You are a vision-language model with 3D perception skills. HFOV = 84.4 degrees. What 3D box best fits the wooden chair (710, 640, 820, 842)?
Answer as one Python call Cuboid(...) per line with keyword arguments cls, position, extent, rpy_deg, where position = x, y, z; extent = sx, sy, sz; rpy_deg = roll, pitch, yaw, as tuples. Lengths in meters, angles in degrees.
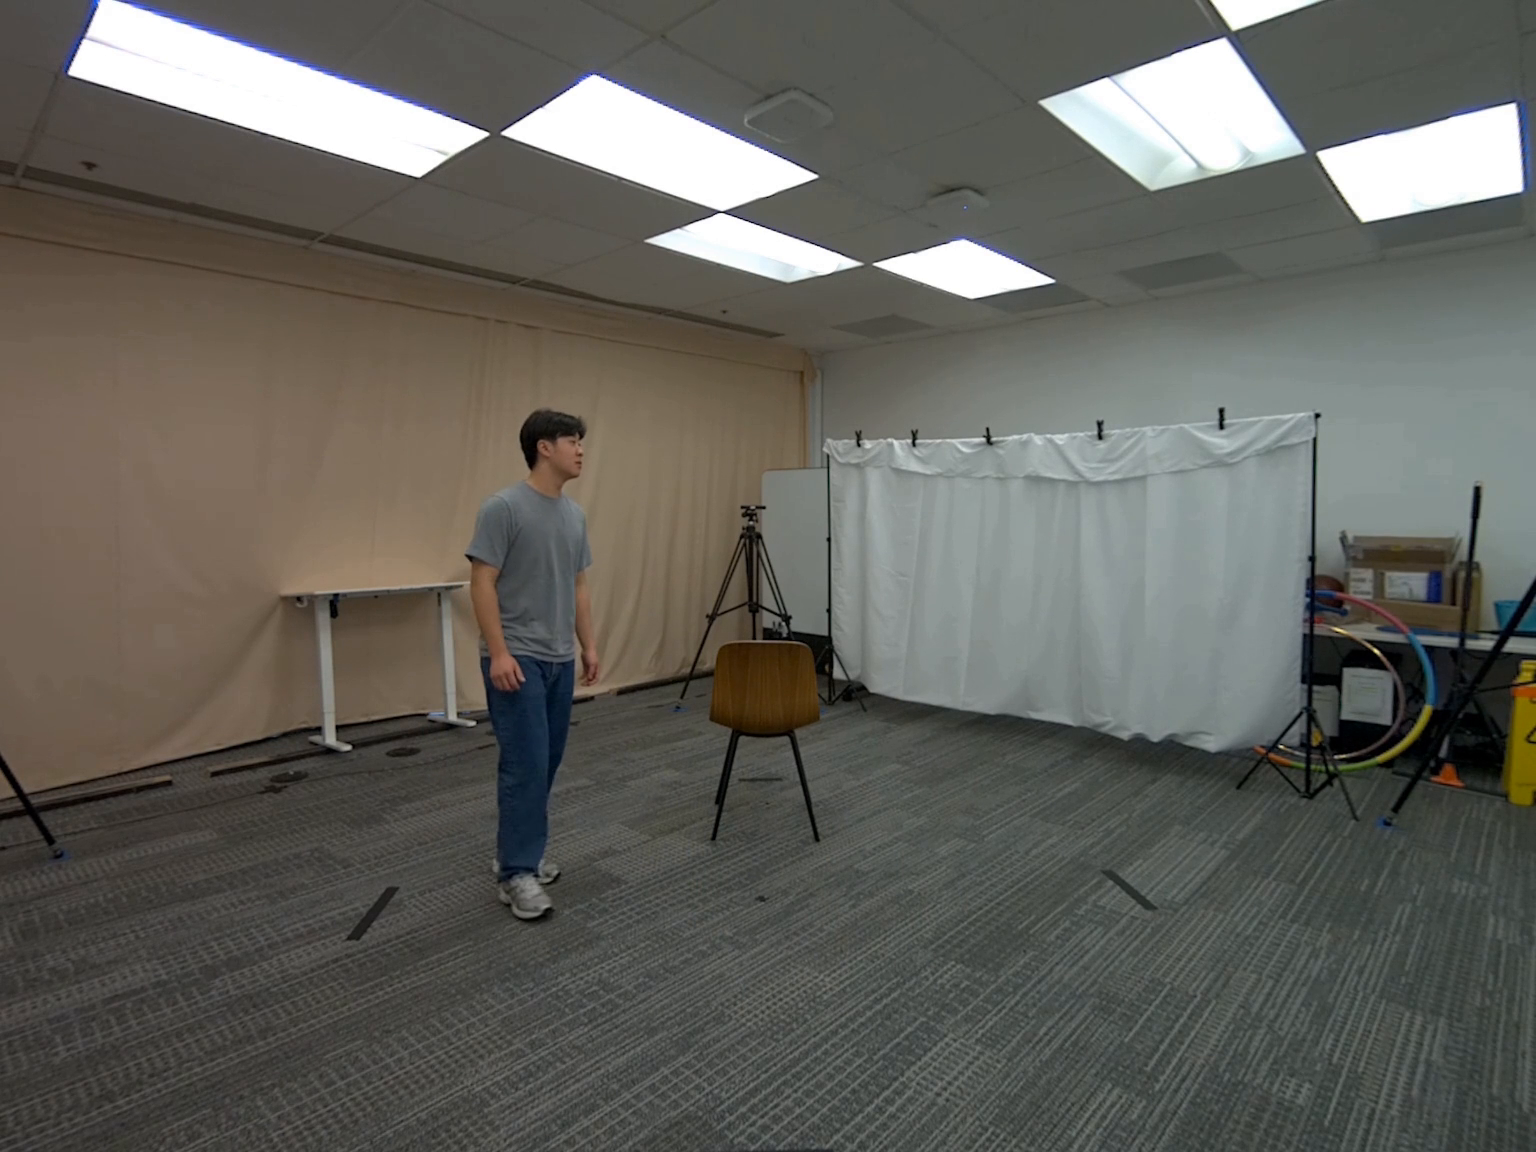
Cuboid(cls="wooden chair", position=(-0.028, 0.660, 3.695), extent=(0.478, 0.874, 0.525), rpy_deg=(-1, 6, 0))
